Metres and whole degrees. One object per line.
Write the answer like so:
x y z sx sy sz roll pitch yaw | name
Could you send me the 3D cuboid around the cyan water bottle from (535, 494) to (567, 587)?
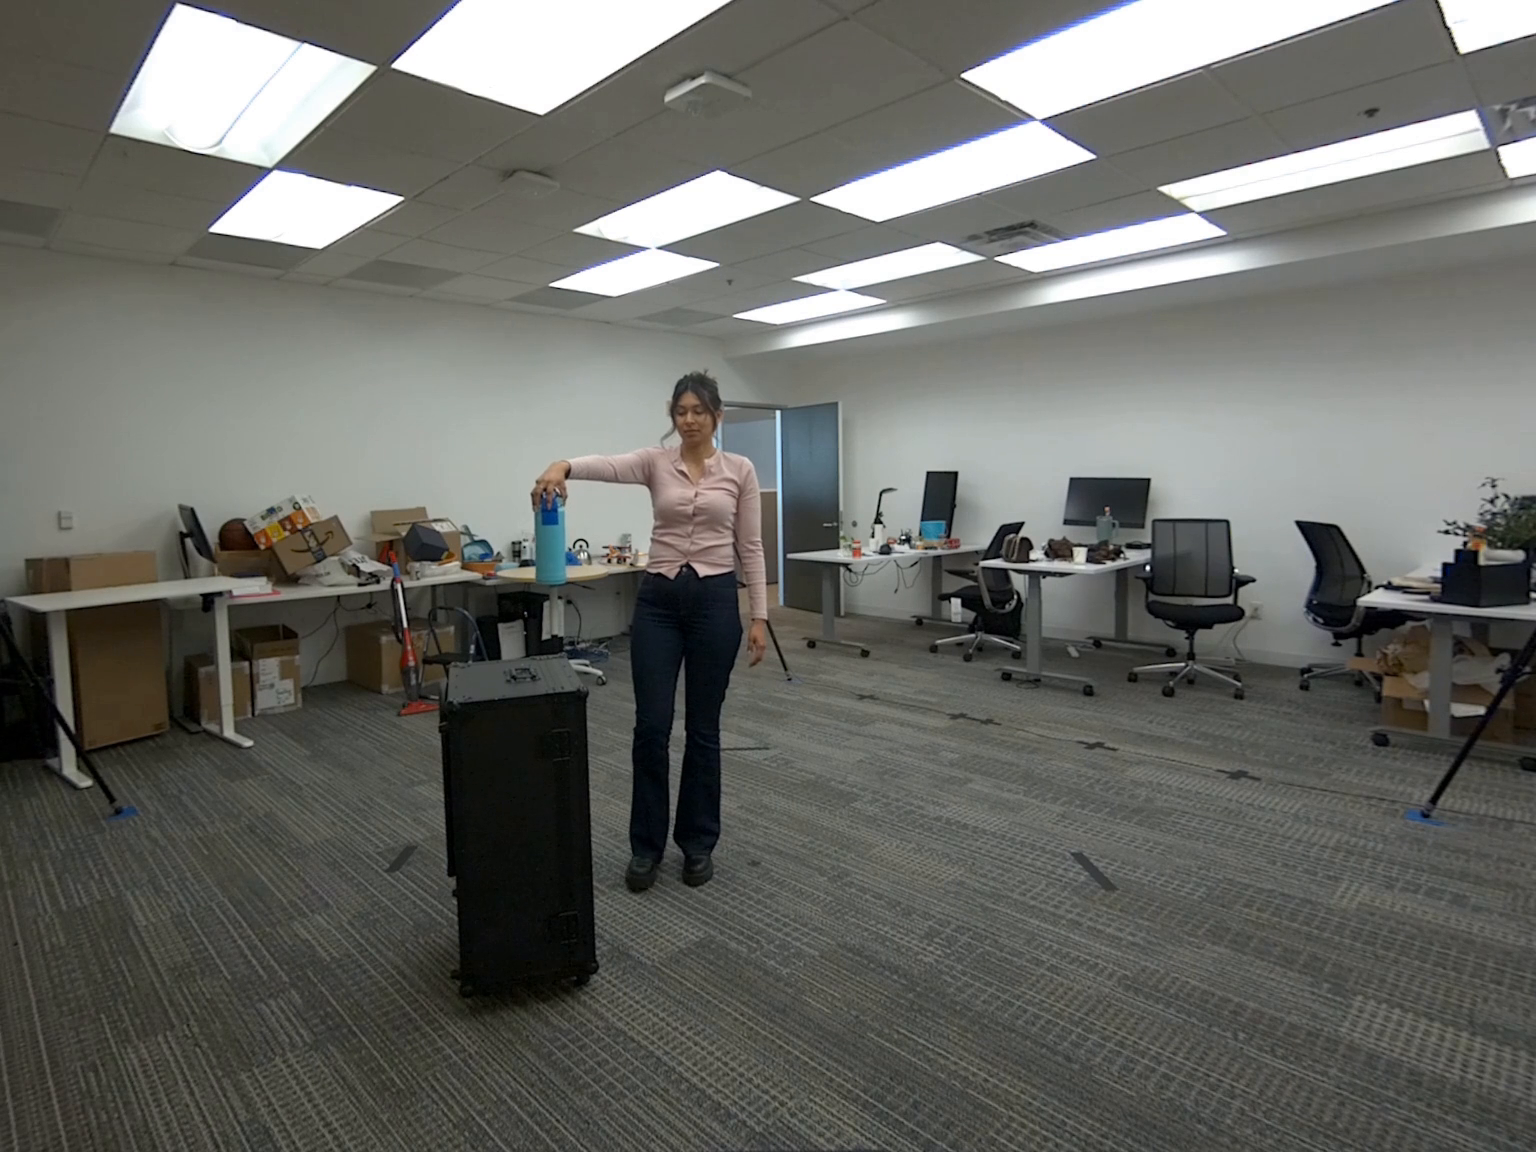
-0.646 -0.118 2.537 0.092 0.282 0.093 1 4 -2 | cyan water bottle
